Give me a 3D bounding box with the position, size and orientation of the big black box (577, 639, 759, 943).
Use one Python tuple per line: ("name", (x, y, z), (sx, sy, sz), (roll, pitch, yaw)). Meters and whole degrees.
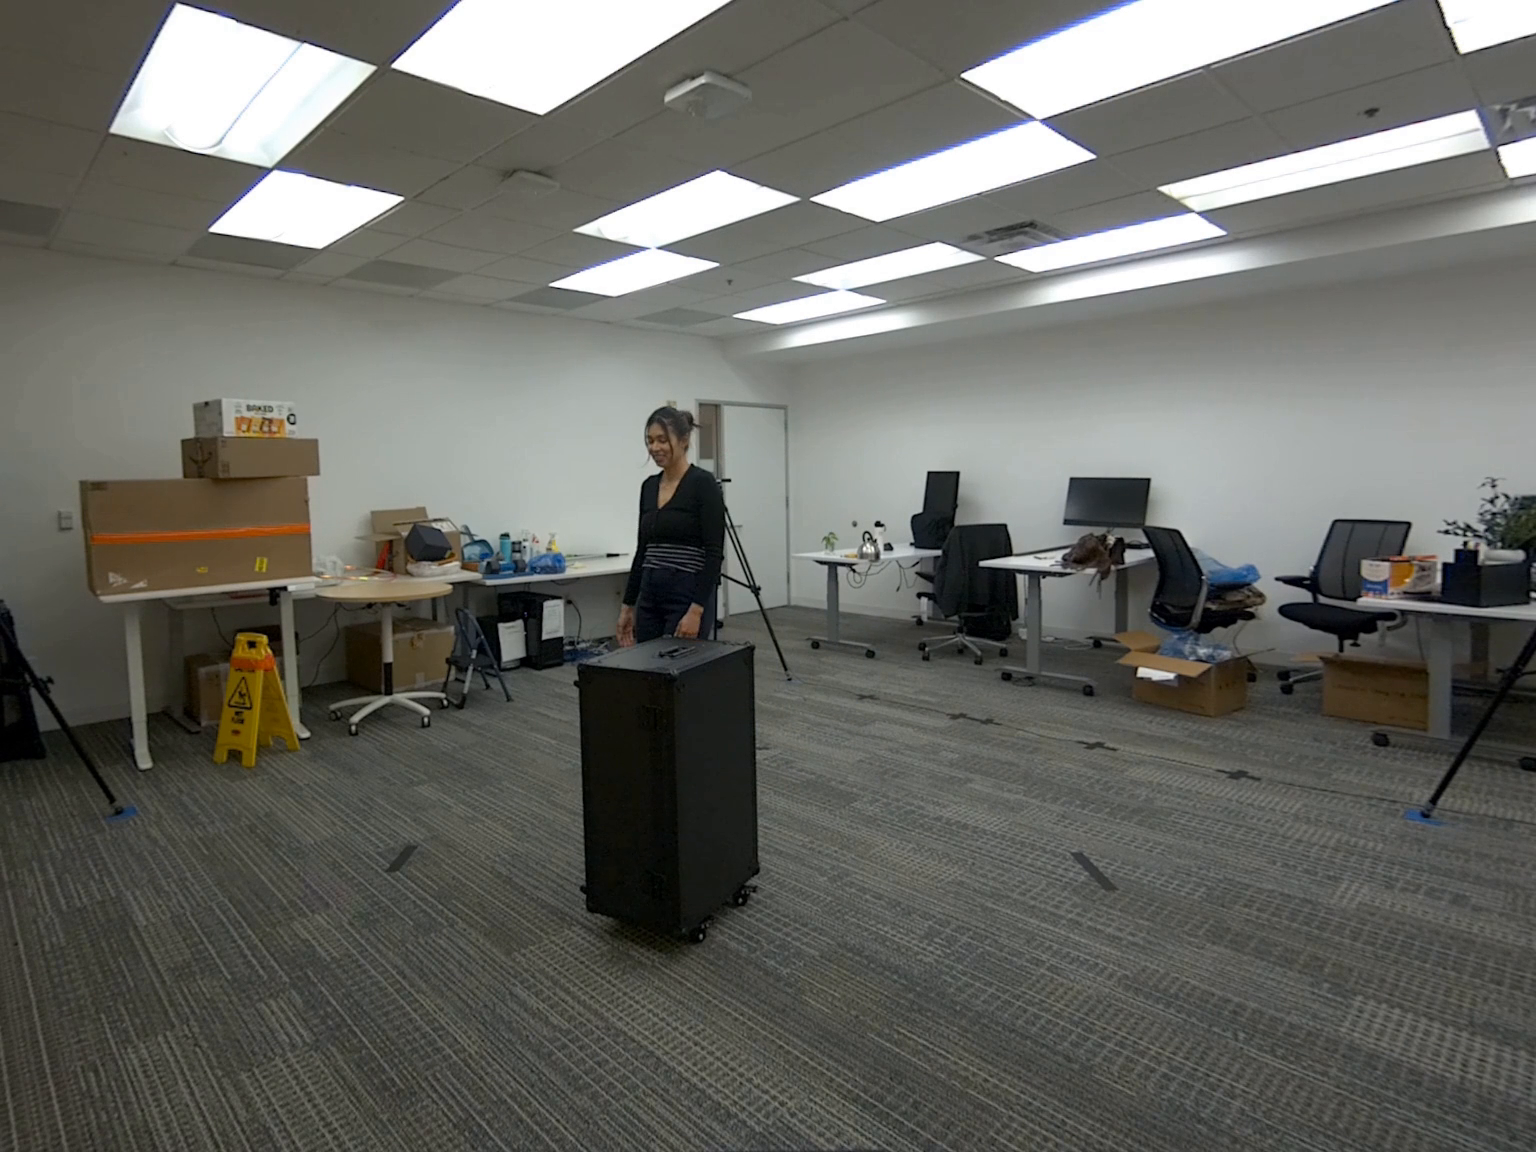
("big black box", (-0.310, 0.668, 2.738), (0.406, 0.859, 0.510), (0, 4, 30))
